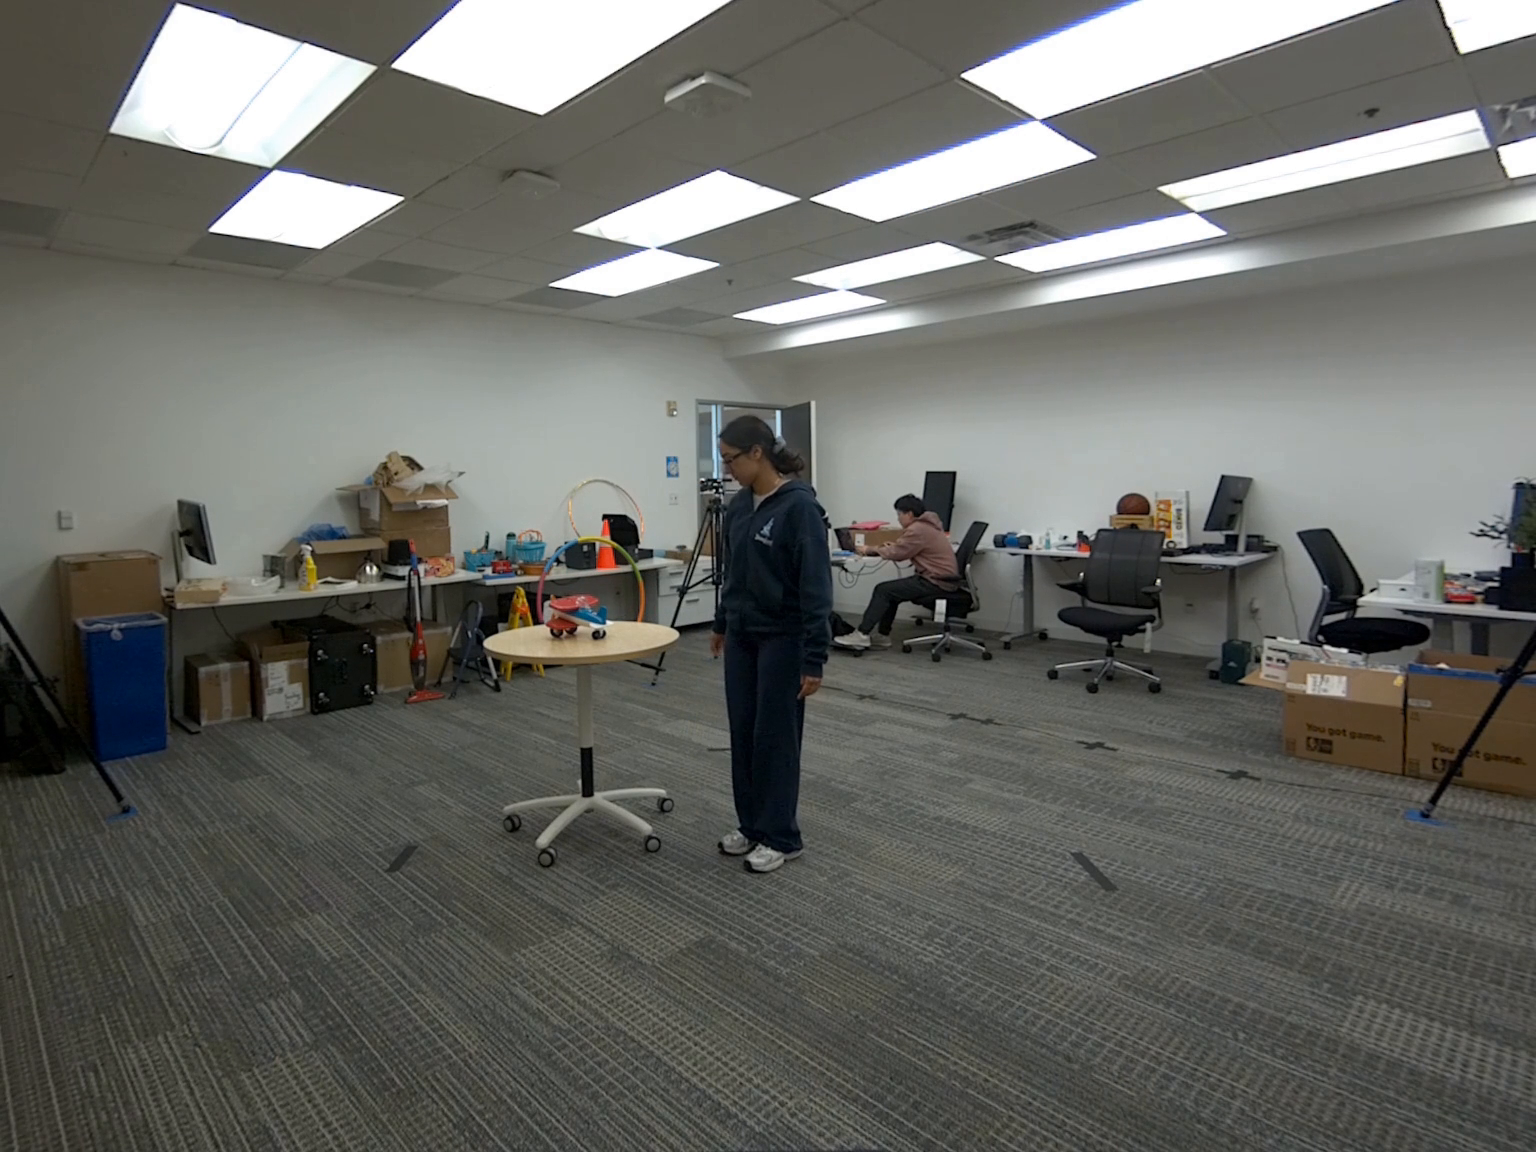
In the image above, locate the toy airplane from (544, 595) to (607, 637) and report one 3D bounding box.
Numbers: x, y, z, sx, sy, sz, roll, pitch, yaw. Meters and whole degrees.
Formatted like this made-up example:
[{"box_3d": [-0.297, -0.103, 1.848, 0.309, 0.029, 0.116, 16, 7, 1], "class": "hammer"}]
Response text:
[{"box_3d": [-0.737, 0.160, 3.414, 0.259, 0.156, 0.252, -2, 5, -1], "class": "toy airplane"}]
